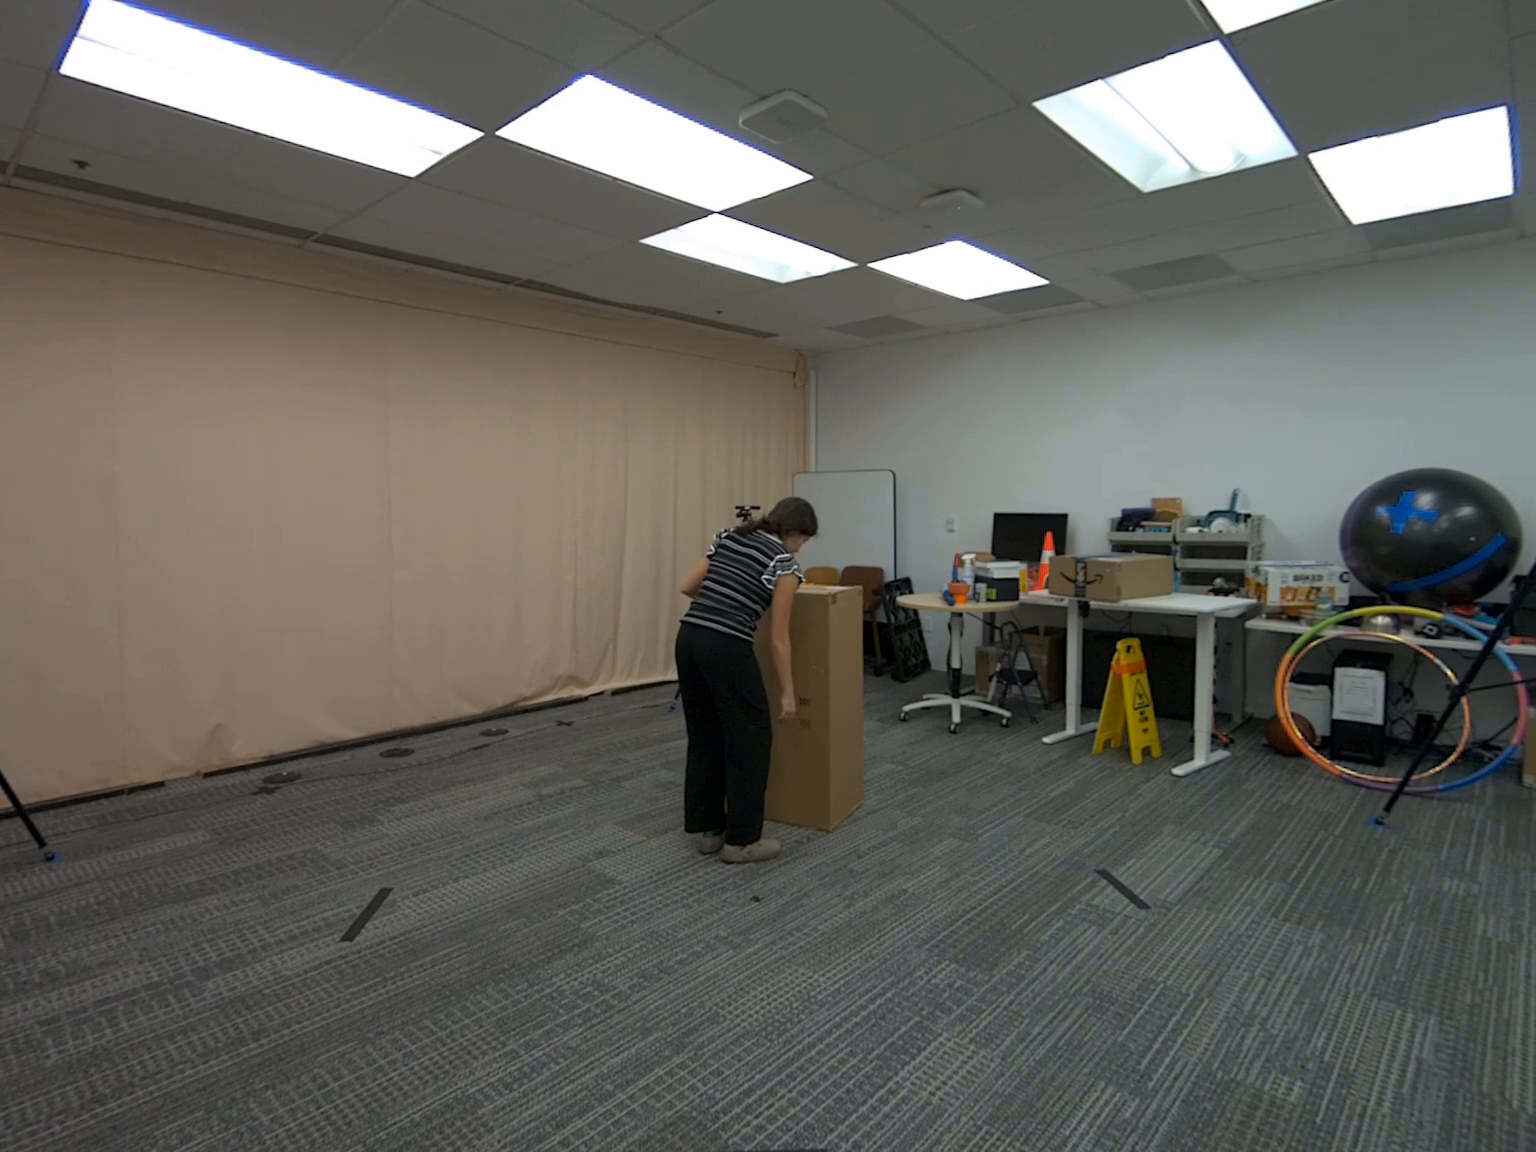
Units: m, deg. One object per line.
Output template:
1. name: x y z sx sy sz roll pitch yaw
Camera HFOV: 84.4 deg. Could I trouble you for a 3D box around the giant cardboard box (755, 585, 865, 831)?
1. giant cardboard box: 0.103 0.559 3.895 0.593 1.024 0.415 1 3 27
